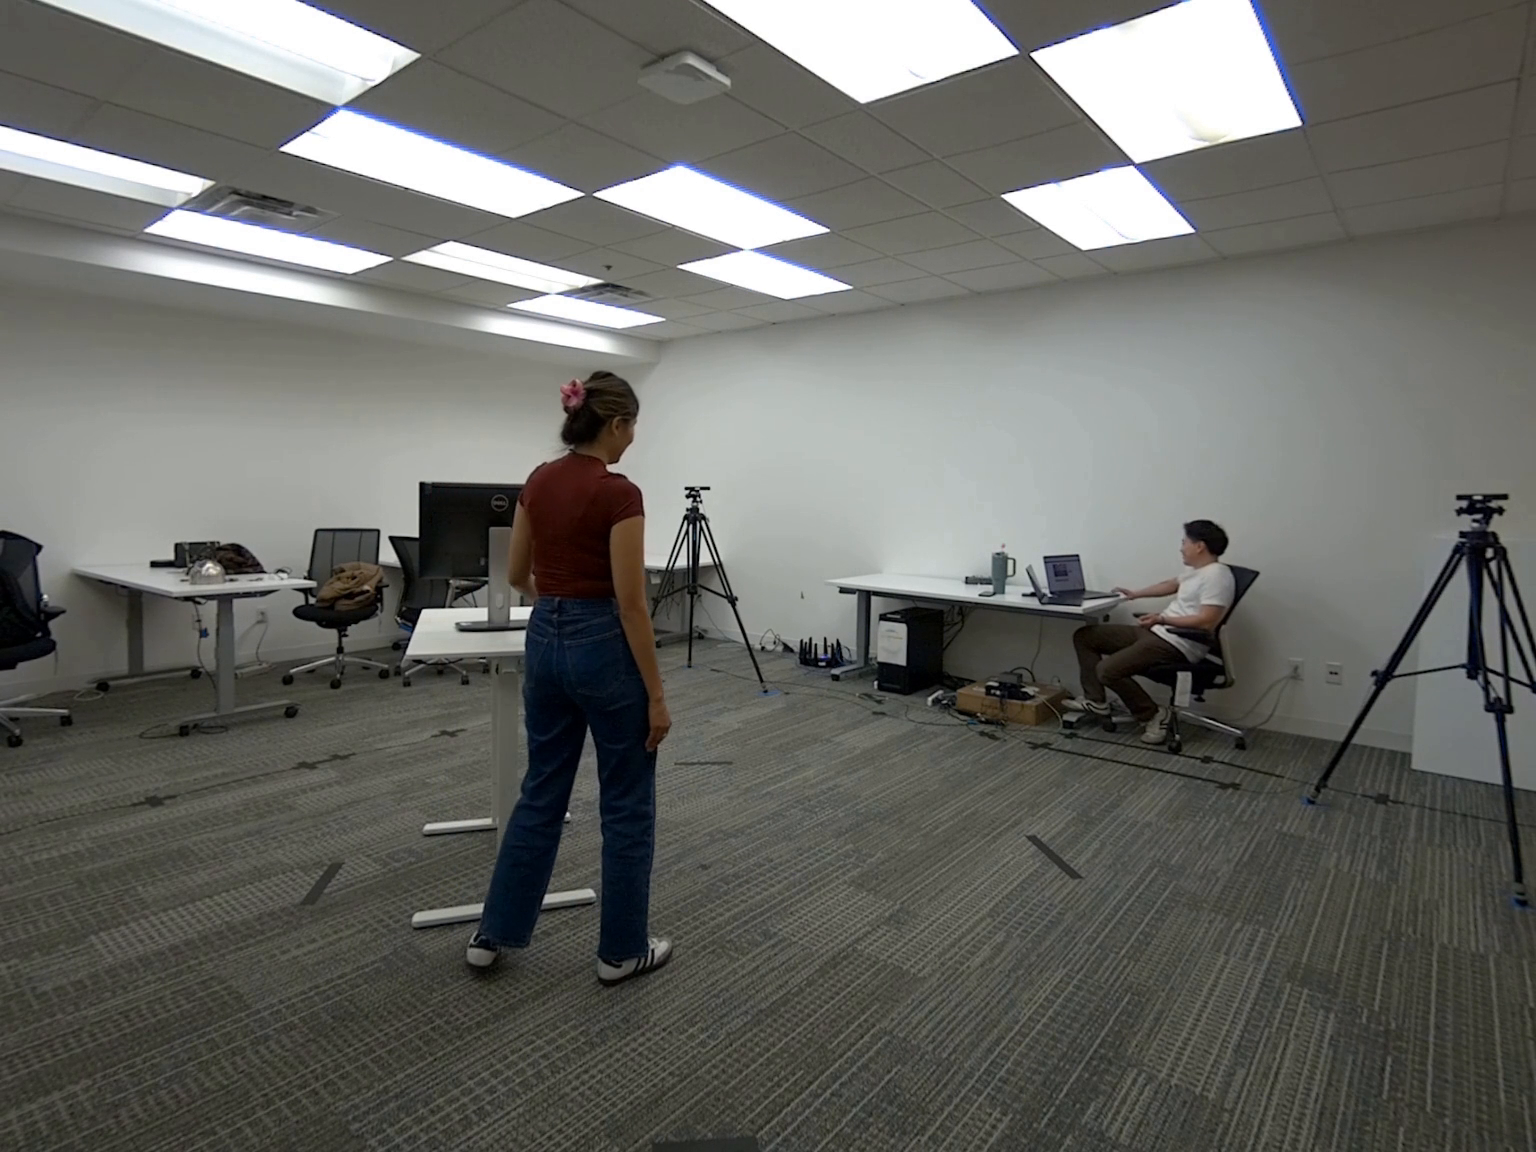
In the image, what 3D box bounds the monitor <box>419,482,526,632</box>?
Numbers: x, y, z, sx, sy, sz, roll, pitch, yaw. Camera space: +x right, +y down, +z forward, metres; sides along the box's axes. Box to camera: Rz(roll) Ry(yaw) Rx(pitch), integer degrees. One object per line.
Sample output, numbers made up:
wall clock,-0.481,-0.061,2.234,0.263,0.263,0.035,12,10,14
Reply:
monitor,-0.968,-0.069,3.006,0.527,0.520,0.192,0,5,-22
